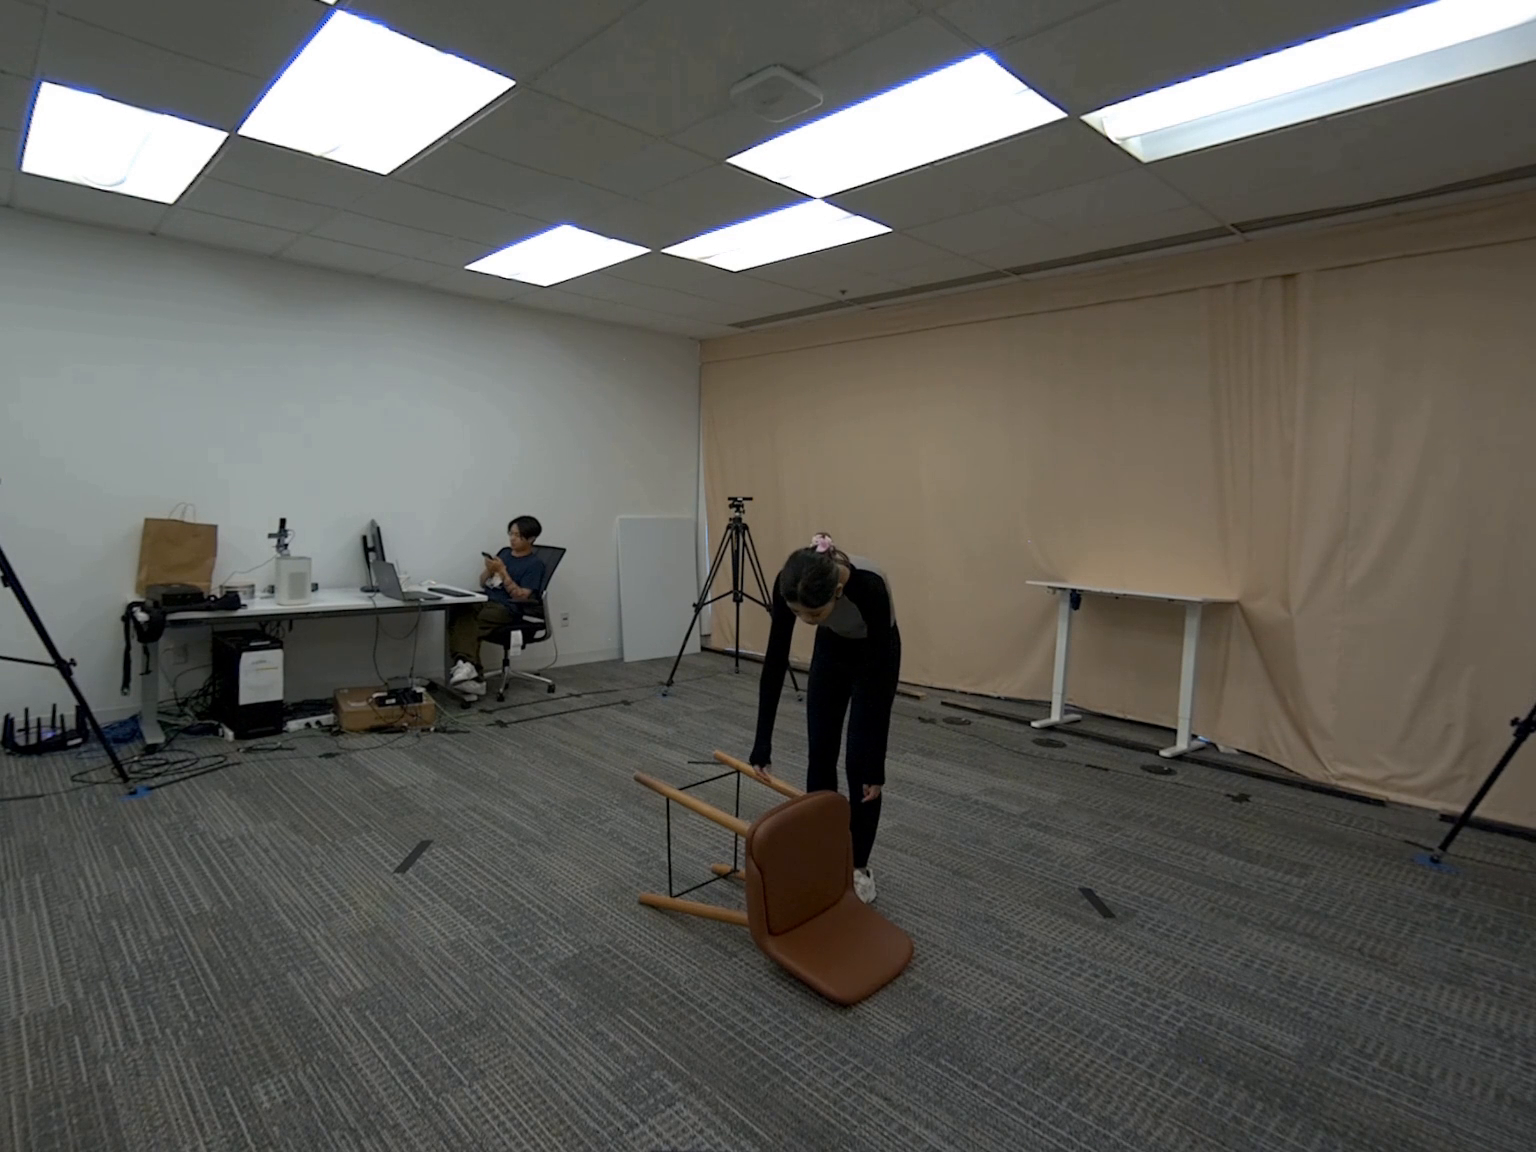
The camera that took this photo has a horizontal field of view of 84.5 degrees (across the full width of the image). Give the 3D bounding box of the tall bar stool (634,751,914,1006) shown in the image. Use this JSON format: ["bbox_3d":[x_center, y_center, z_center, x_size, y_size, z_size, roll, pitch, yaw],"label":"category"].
[{"bbox_3d":[-0.005,0.920,2.699,0.913,0.466,0.446,6,6,44],"label":"tall bar stool"}]
